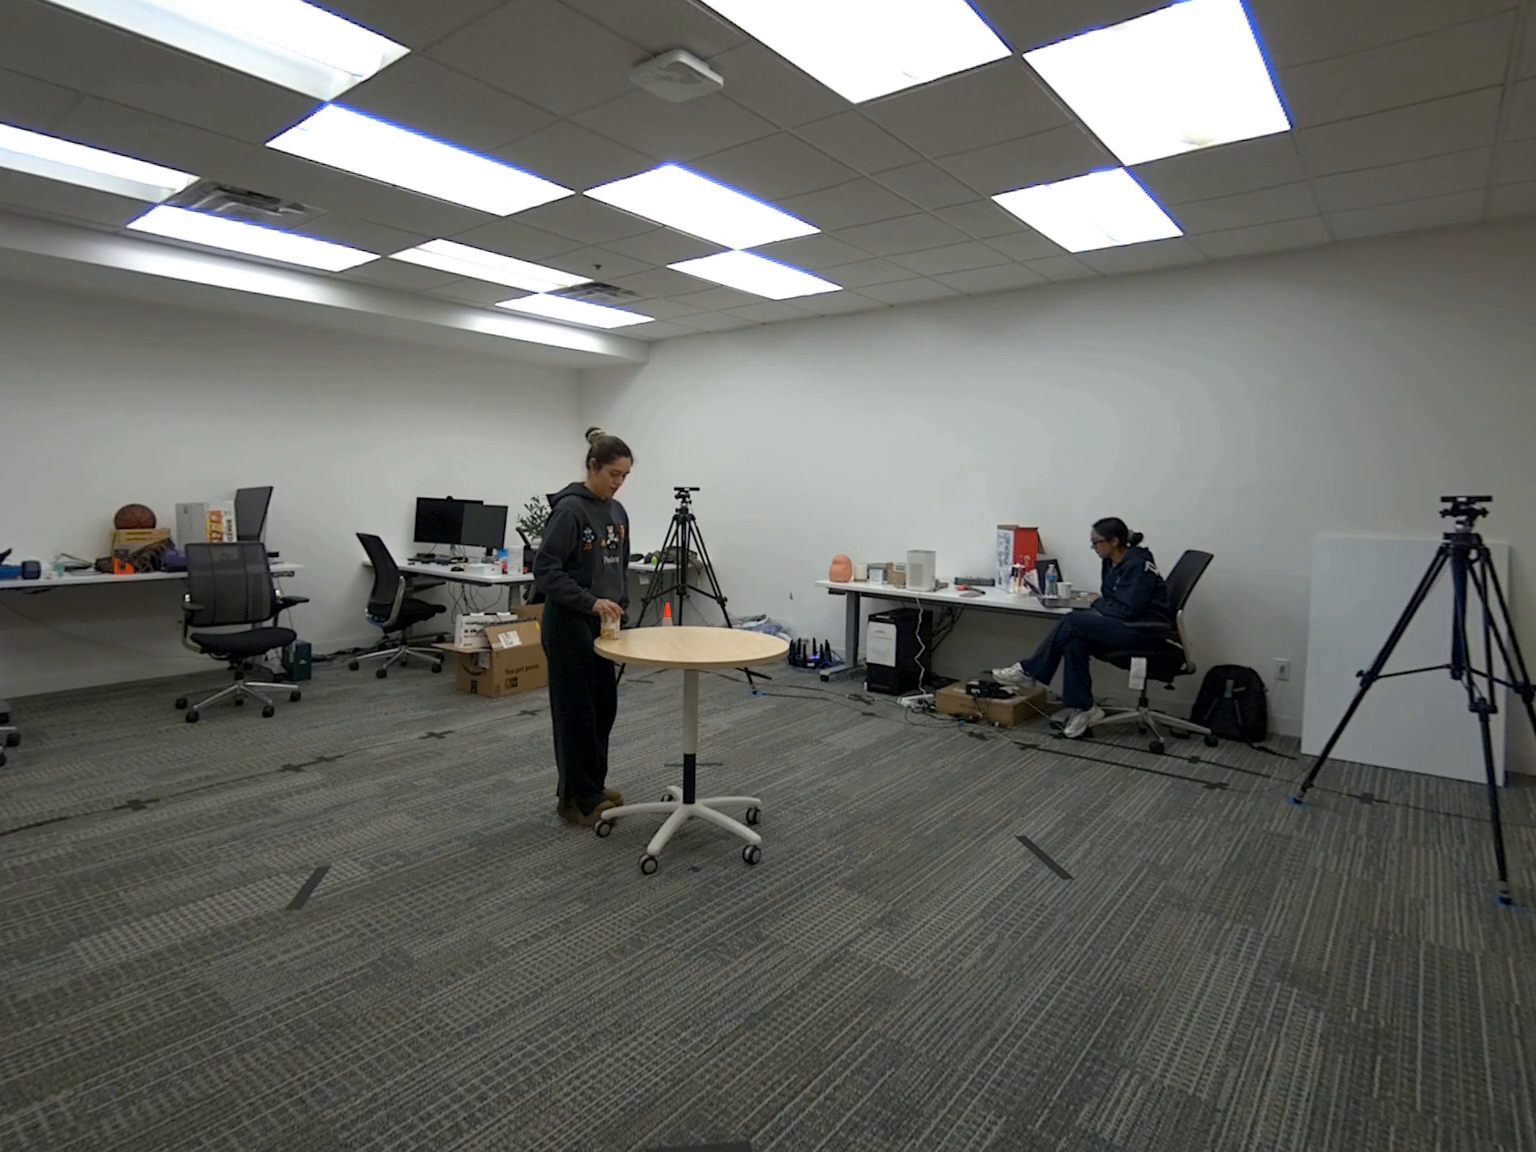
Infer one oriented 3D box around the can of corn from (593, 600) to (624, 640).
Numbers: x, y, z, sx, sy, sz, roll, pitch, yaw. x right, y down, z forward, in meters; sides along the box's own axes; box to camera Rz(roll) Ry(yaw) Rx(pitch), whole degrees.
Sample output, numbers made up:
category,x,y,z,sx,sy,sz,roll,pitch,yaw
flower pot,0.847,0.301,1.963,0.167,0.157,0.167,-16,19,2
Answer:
category,x,y,z,sx,sy,sz,roll,pitch,yaw
can of corn,-0.630,0.193,3.375,0.074,0.110,0.074,0,4,-2
